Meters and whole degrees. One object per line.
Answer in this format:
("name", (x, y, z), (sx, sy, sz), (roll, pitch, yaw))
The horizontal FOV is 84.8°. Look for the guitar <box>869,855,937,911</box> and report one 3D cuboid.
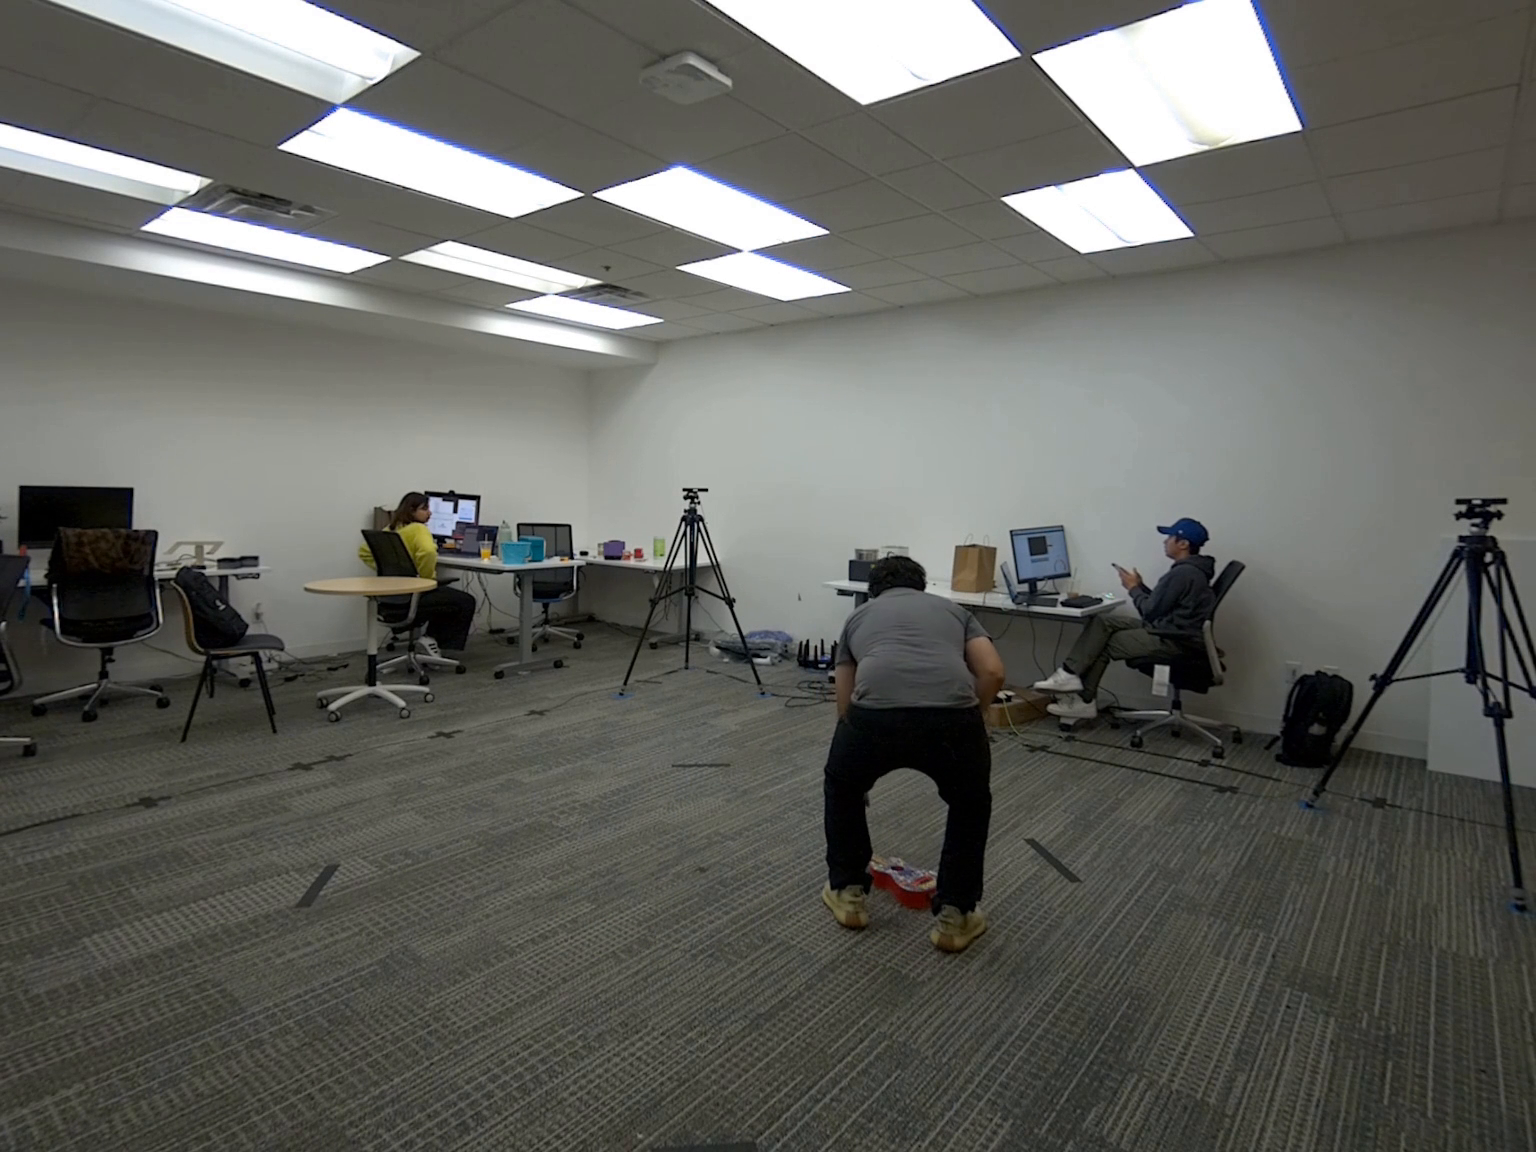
("guitar", (0.430, 1.054, 3.096), (0.188, 0.070, 0.513), (-2, 6, -29))
